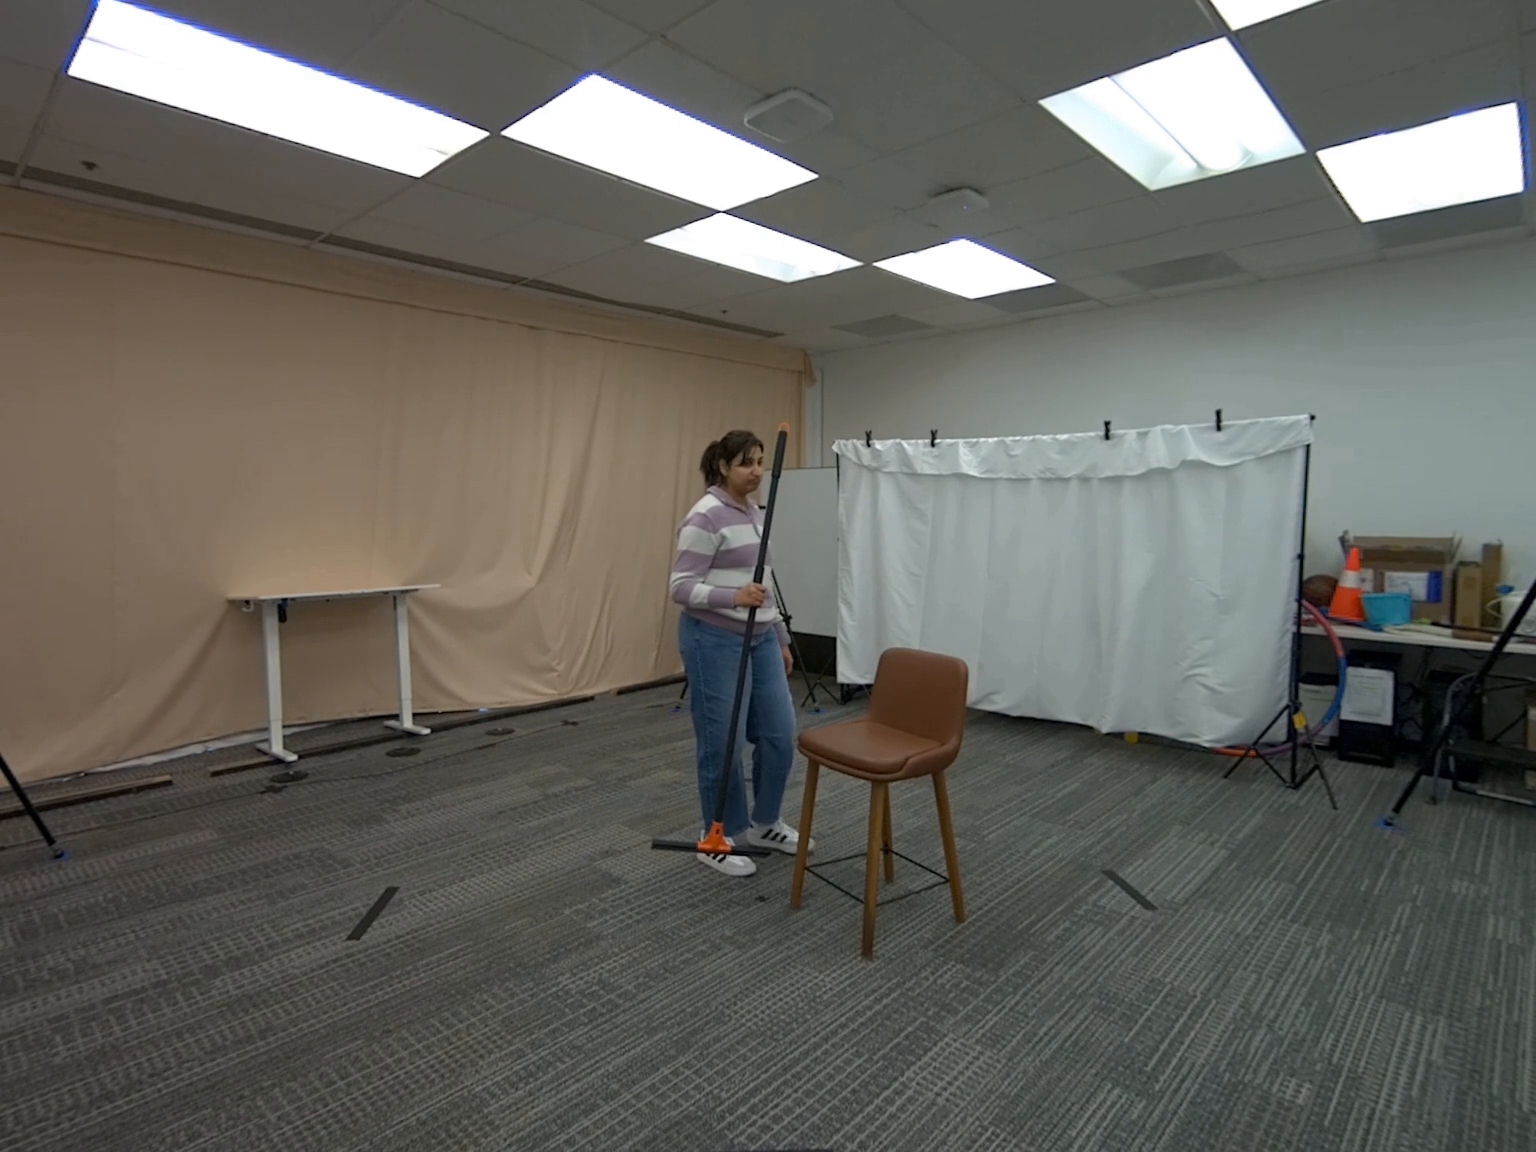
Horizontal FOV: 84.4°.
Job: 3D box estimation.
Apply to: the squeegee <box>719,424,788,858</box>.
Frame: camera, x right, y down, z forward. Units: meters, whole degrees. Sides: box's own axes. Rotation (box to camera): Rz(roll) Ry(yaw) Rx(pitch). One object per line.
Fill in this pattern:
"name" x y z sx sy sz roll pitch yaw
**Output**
"squeegee" -0.048 0.245 2.974 0.053 1.536 0.437 -5 1 0
